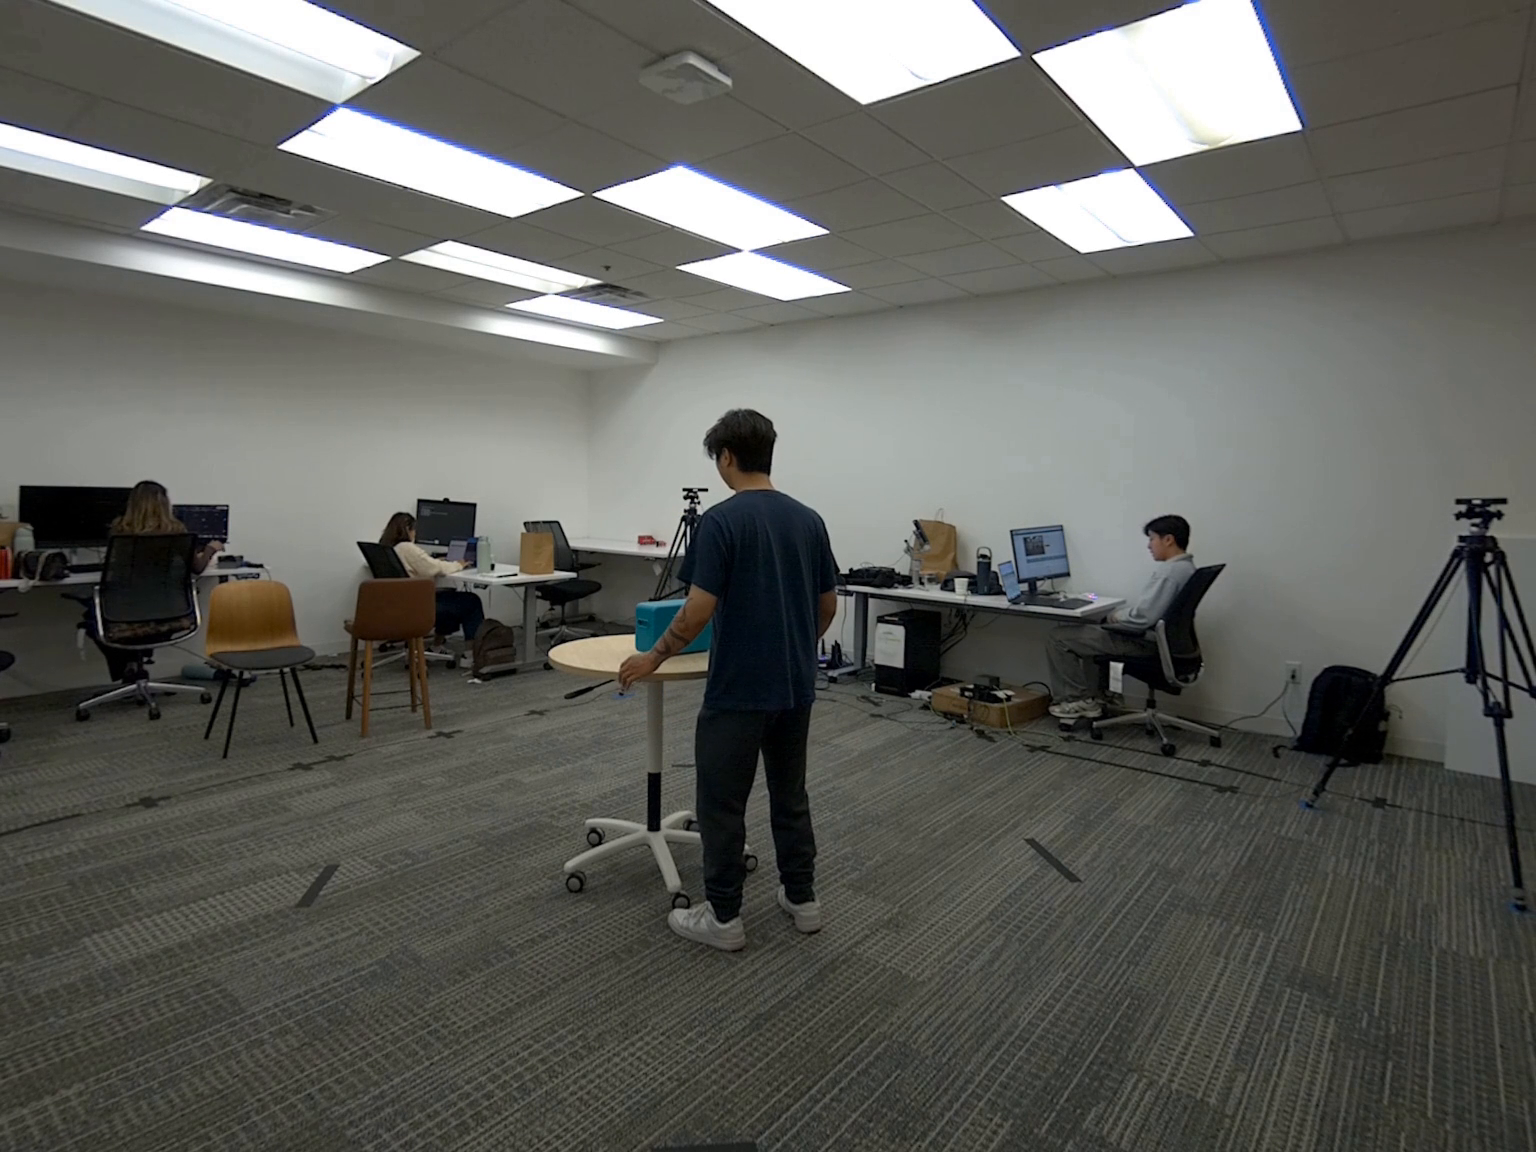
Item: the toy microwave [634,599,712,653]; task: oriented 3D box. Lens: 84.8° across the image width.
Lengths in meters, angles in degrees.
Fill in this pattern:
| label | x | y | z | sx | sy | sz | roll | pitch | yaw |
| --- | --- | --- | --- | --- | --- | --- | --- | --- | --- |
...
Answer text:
| label | x | y | z | sx | sy | sz | roll | pitch | yaw |
| --- | --- | --- | --- | --- | --- | --- | --- | --- | --- |
| toy microwave | -0.343 | 0.180 | 3.071 | 0.278 | 0.183 | 0.157 | -3 | 5 | -37 |
